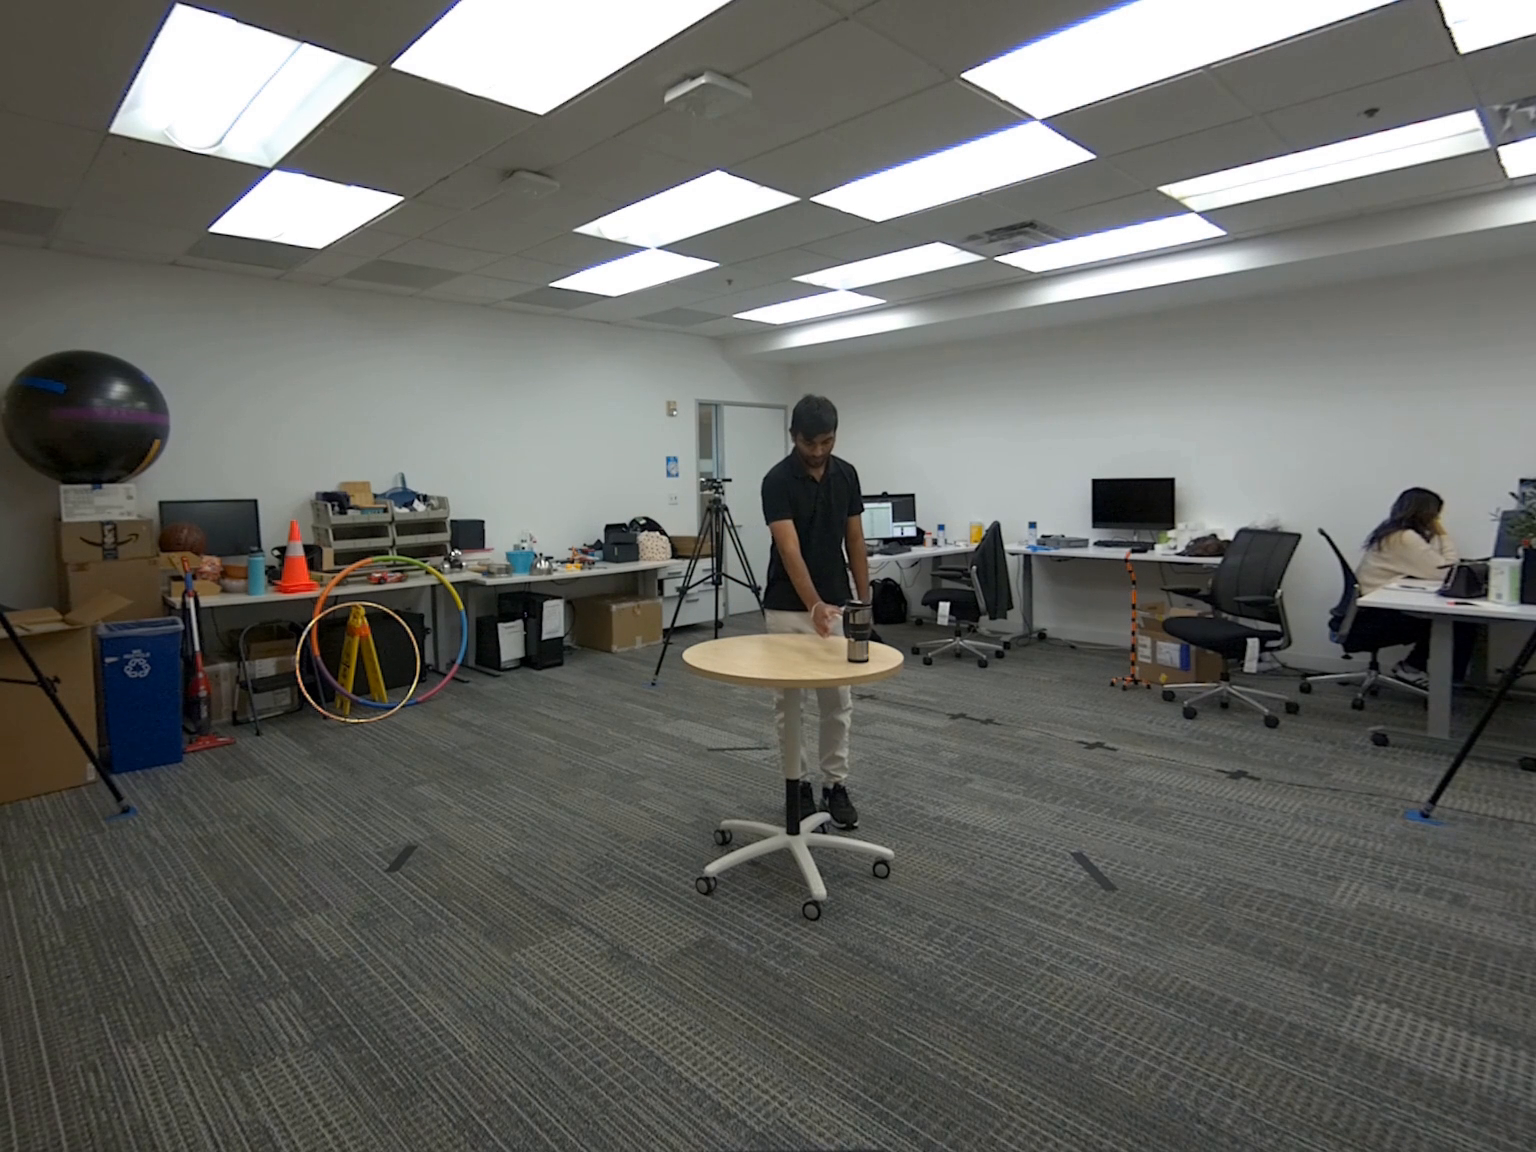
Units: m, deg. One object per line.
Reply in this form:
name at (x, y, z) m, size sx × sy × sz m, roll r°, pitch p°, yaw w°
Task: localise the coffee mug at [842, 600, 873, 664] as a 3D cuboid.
coffee mug at (0.286, 0.188, 2.843) m, size 0.119 × 0.202 × 0.090 m, roll 0°, pitch 5°, yaw -28°
